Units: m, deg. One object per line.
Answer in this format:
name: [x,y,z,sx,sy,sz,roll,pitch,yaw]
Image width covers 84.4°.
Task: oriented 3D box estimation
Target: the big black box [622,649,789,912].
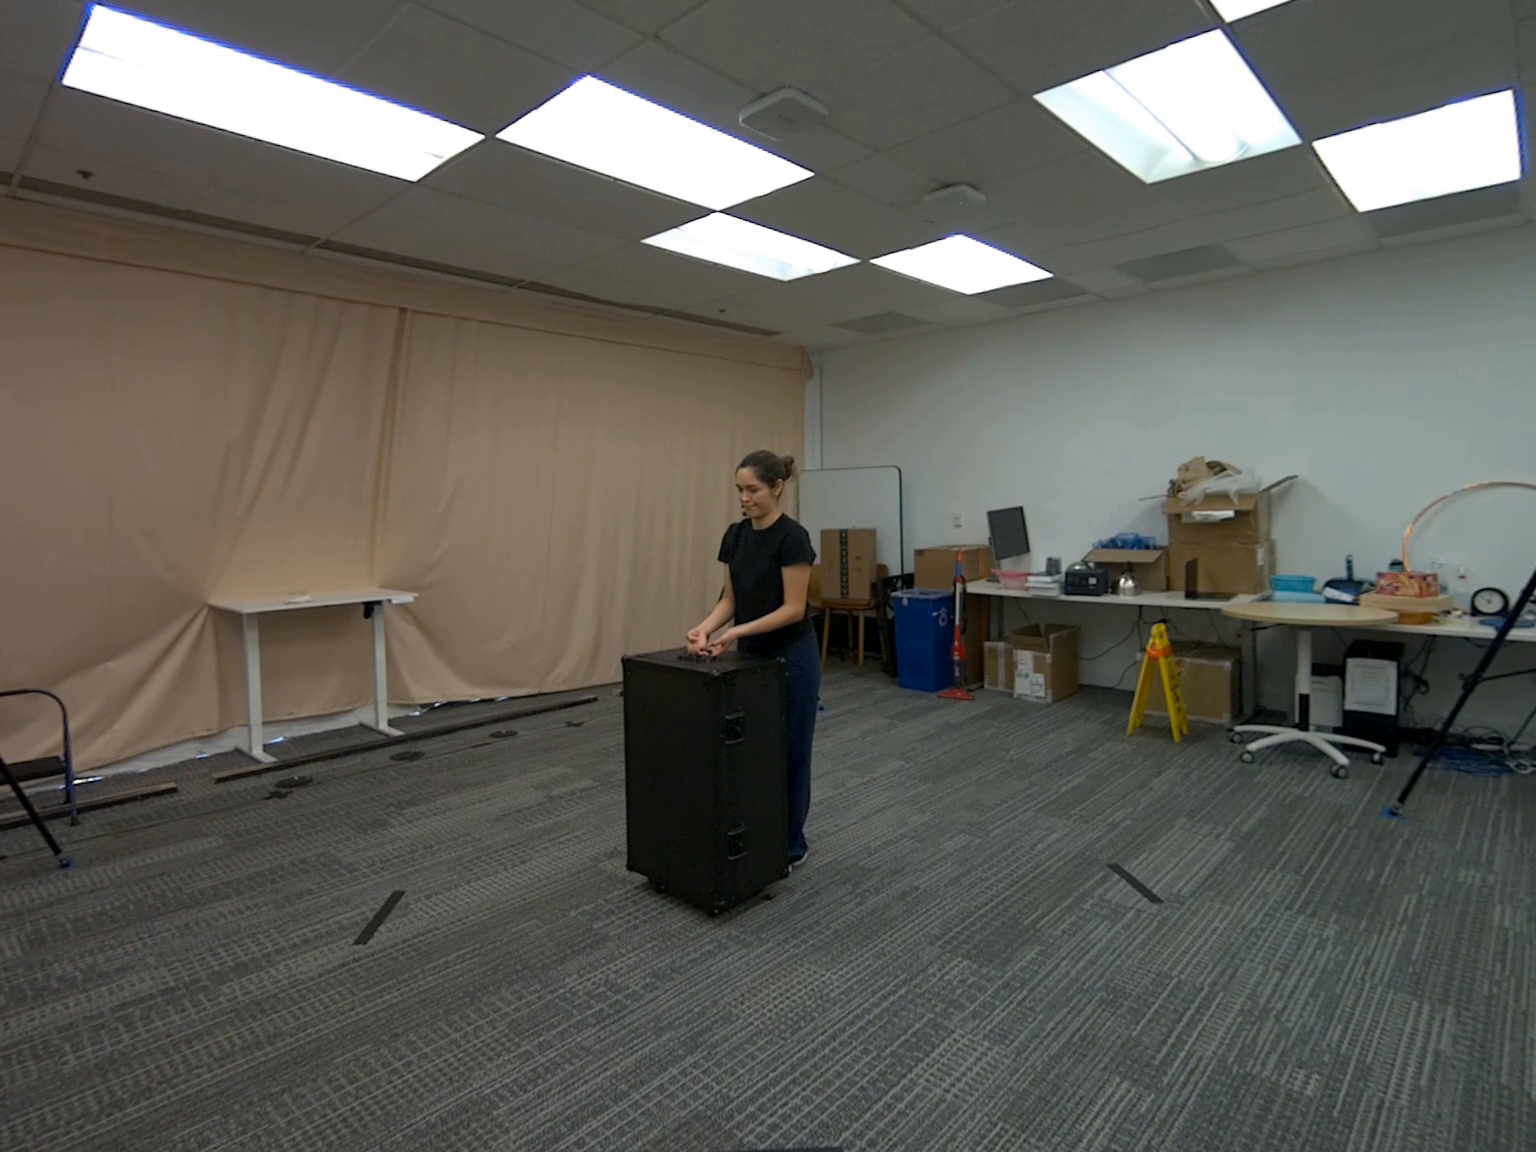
big black box: [-0.210,0.714,3.030,0.538,0.860,0.384,2,3,42]
